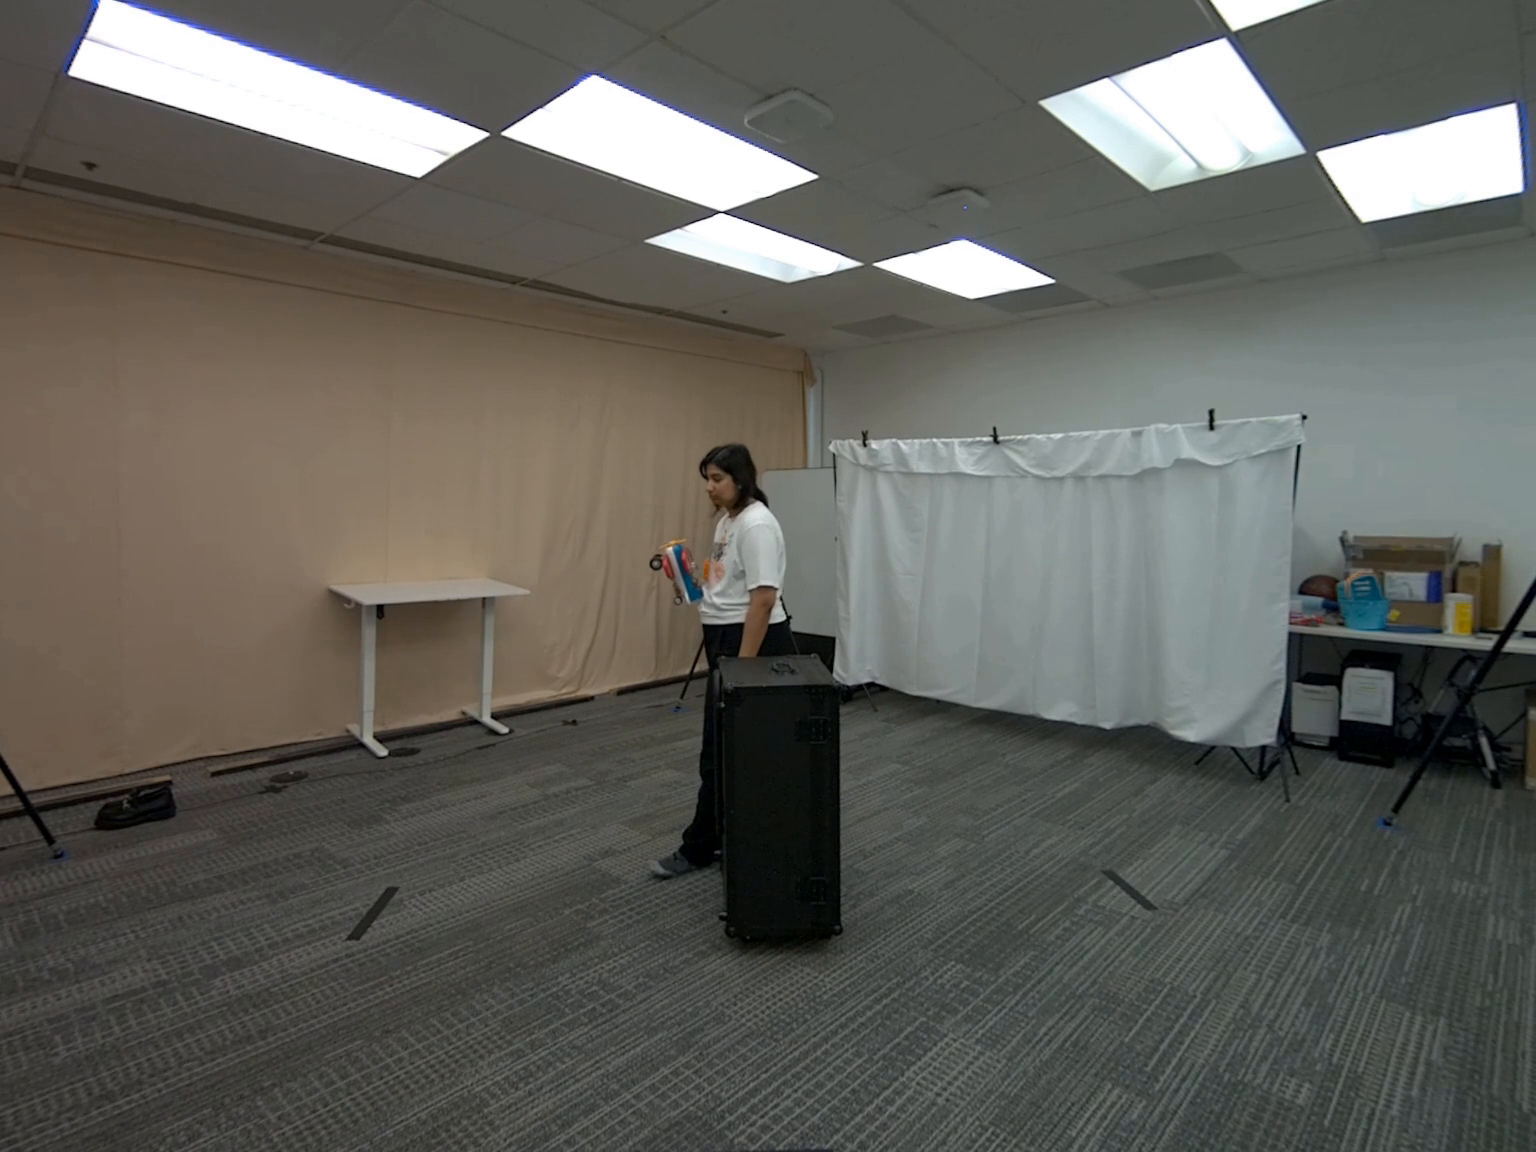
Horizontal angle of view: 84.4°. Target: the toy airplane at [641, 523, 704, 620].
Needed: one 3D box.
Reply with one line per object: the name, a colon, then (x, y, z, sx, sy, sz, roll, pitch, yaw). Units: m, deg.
toy airplane: (-0.361, -0.022, 3.411, 0.157, 0.251, 0.258, -31, 33, 5)
